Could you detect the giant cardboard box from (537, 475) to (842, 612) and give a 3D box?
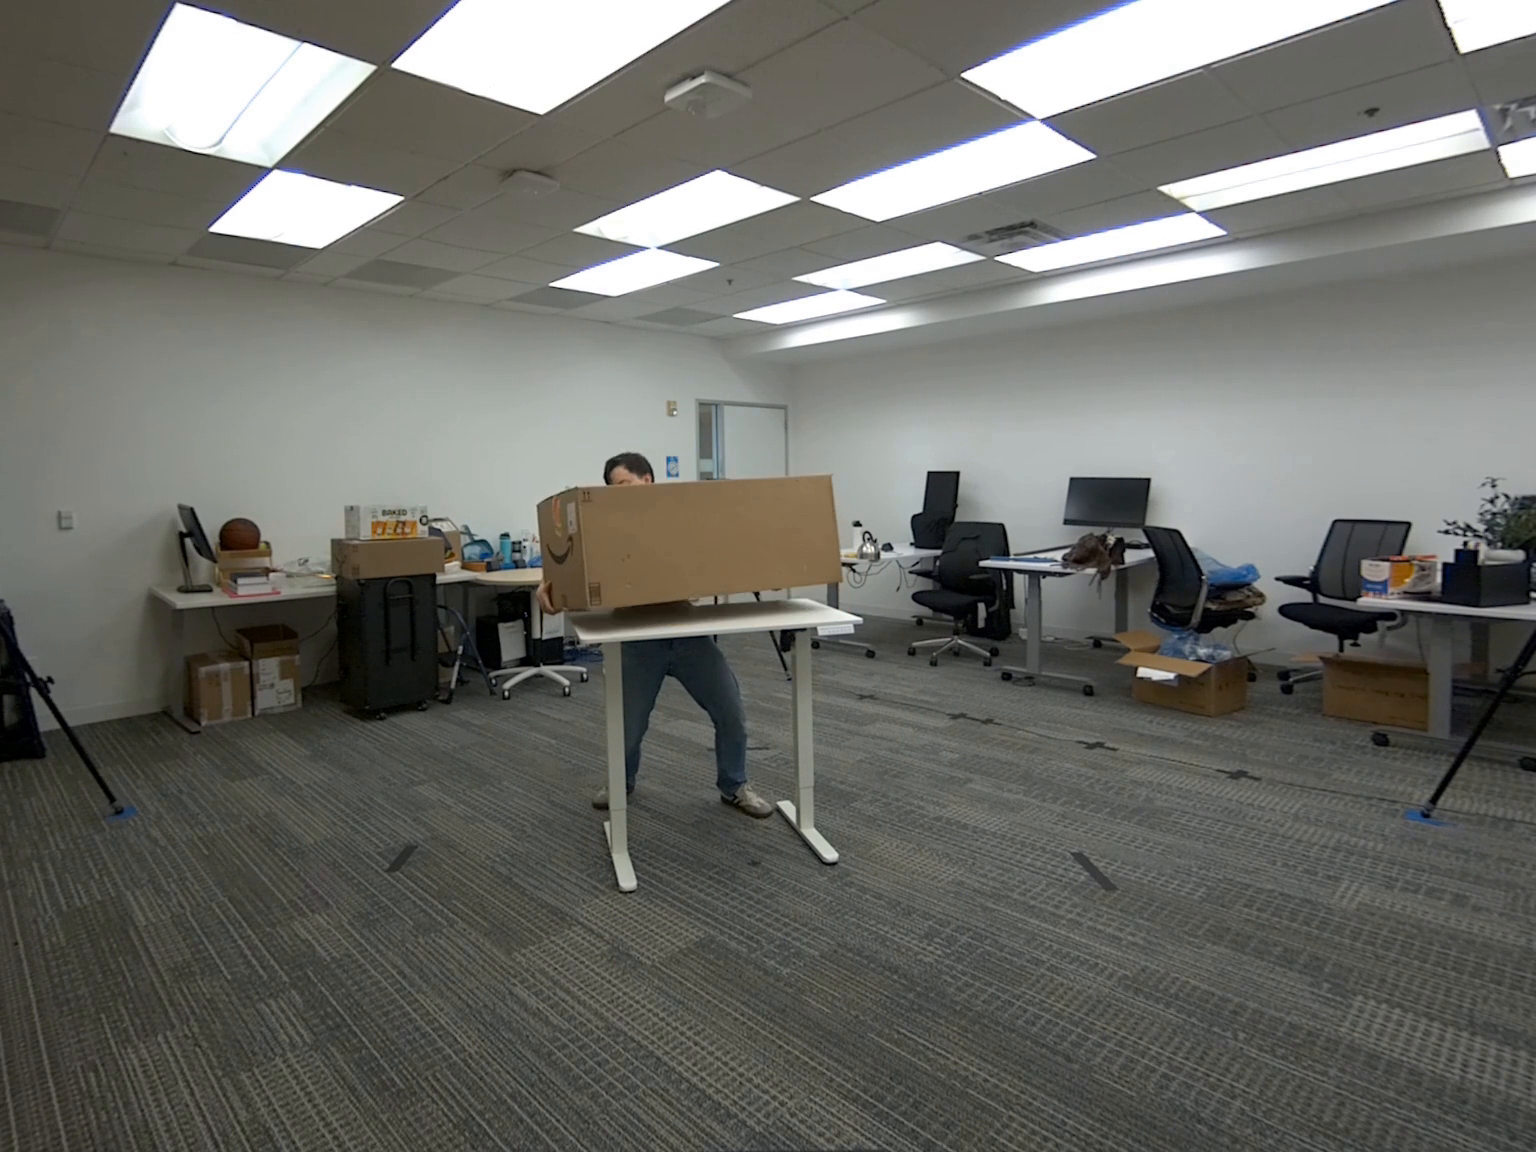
[{"bbox_3d":[-0.315,-0.137,3.330,1.005,0.427,0.589,-6,0,-26],"label":"giant cardboard box"}]
